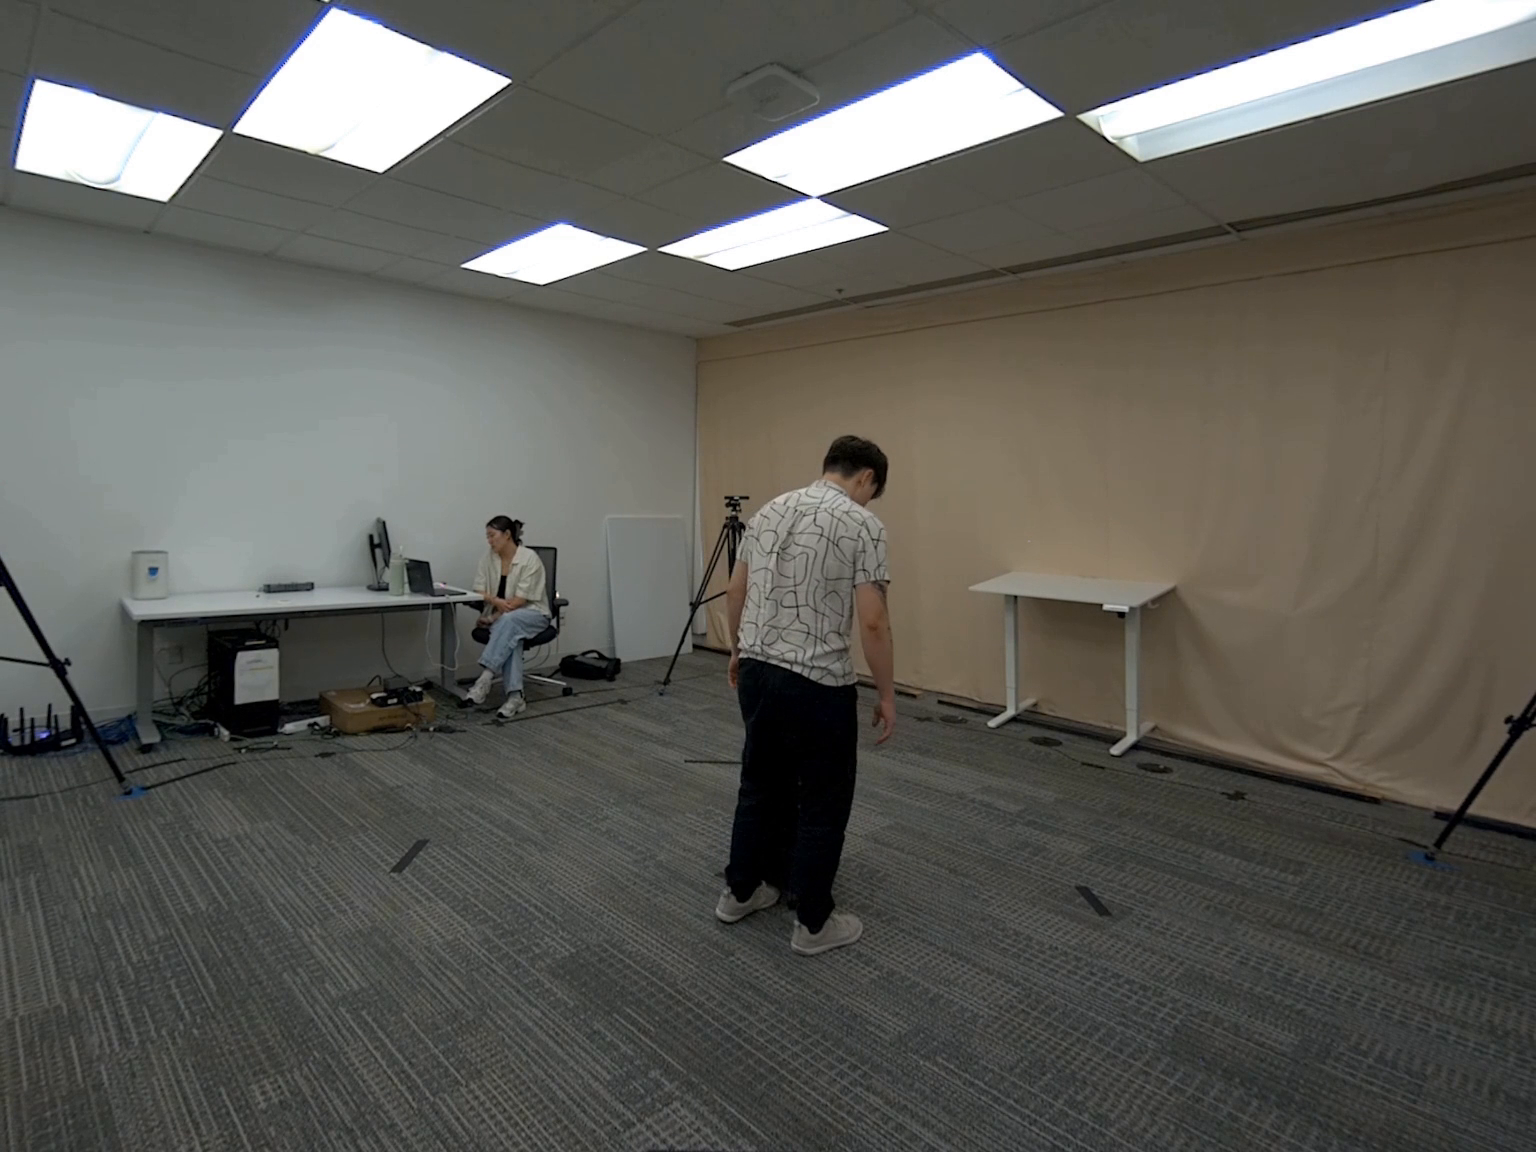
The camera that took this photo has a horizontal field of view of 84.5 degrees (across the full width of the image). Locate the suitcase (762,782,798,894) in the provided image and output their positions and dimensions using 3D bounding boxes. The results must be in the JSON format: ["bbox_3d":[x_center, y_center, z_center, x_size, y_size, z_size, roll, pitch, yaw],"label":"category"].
[{"bbox_3d":[0.075,0.842,3.049,0.253,0.548,0.368,3,3,29],"label":"suitcase"}]
